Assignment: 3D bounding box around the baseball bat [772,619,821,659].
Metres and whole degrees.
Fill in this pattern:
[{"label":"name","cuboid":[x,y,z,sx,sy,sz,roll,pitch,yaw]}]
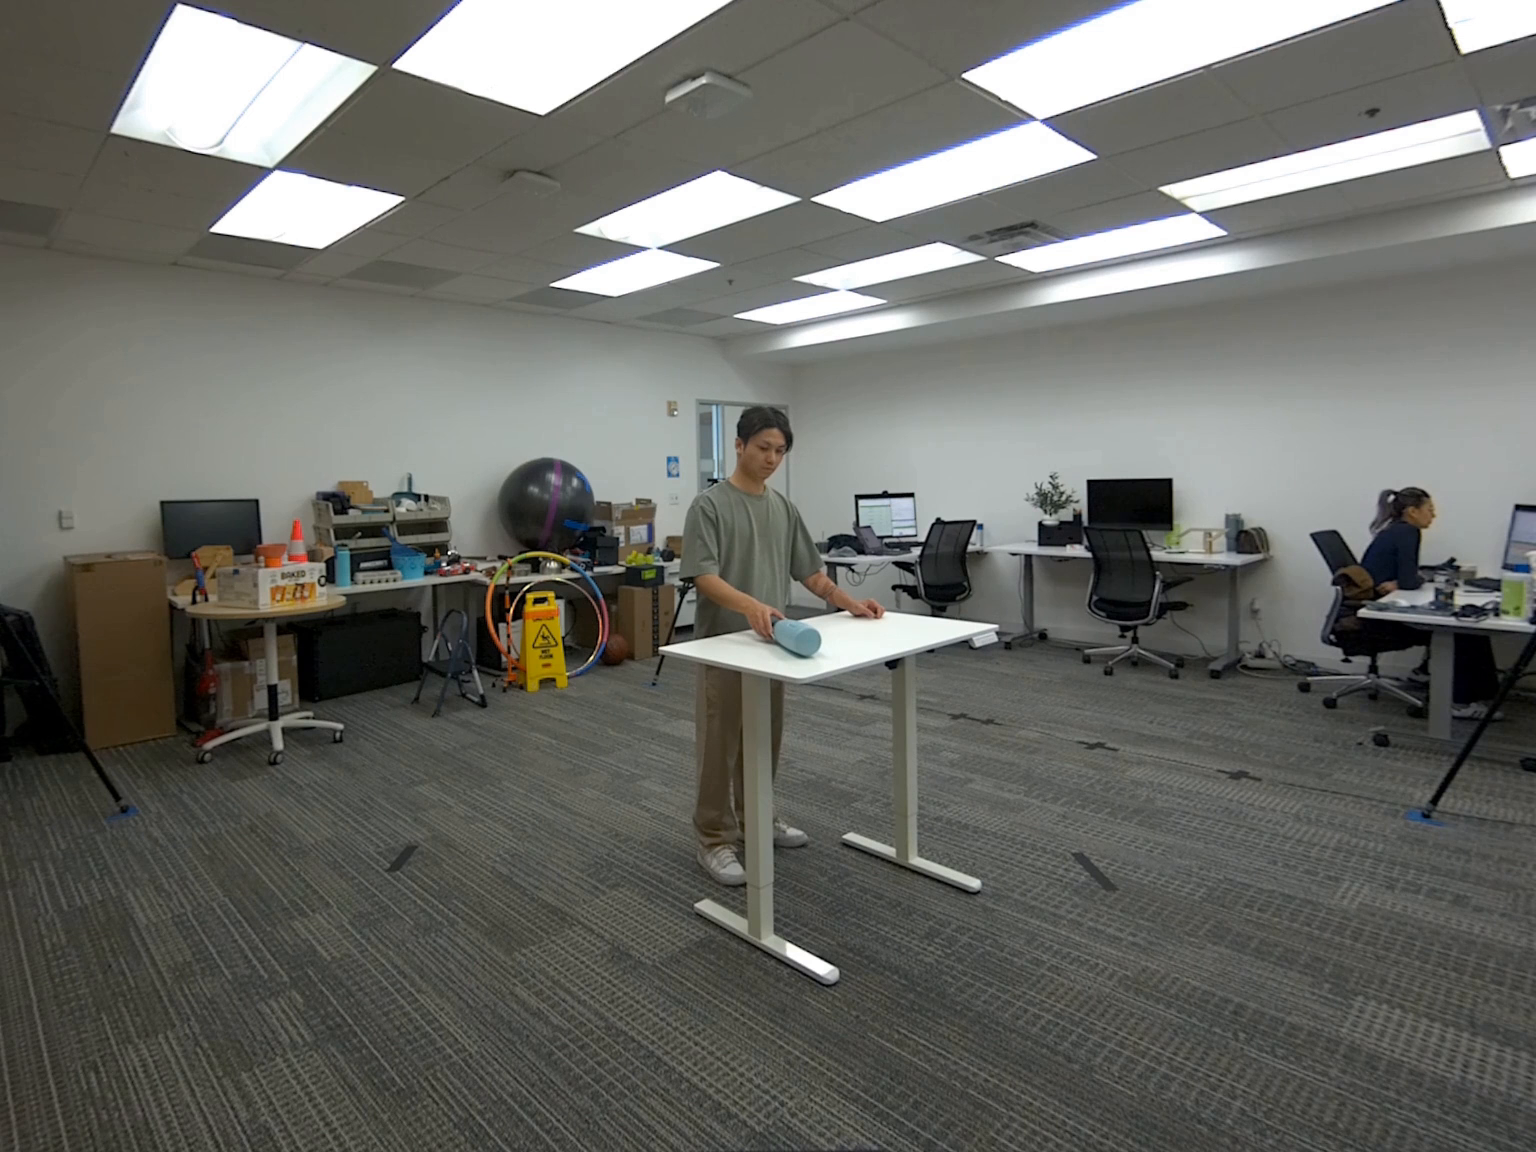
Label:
[{"label":"baseball bat","cuboid":[0.052,0.178,2.694,0.088,0.089,0.551,-2,3,-16]}]
